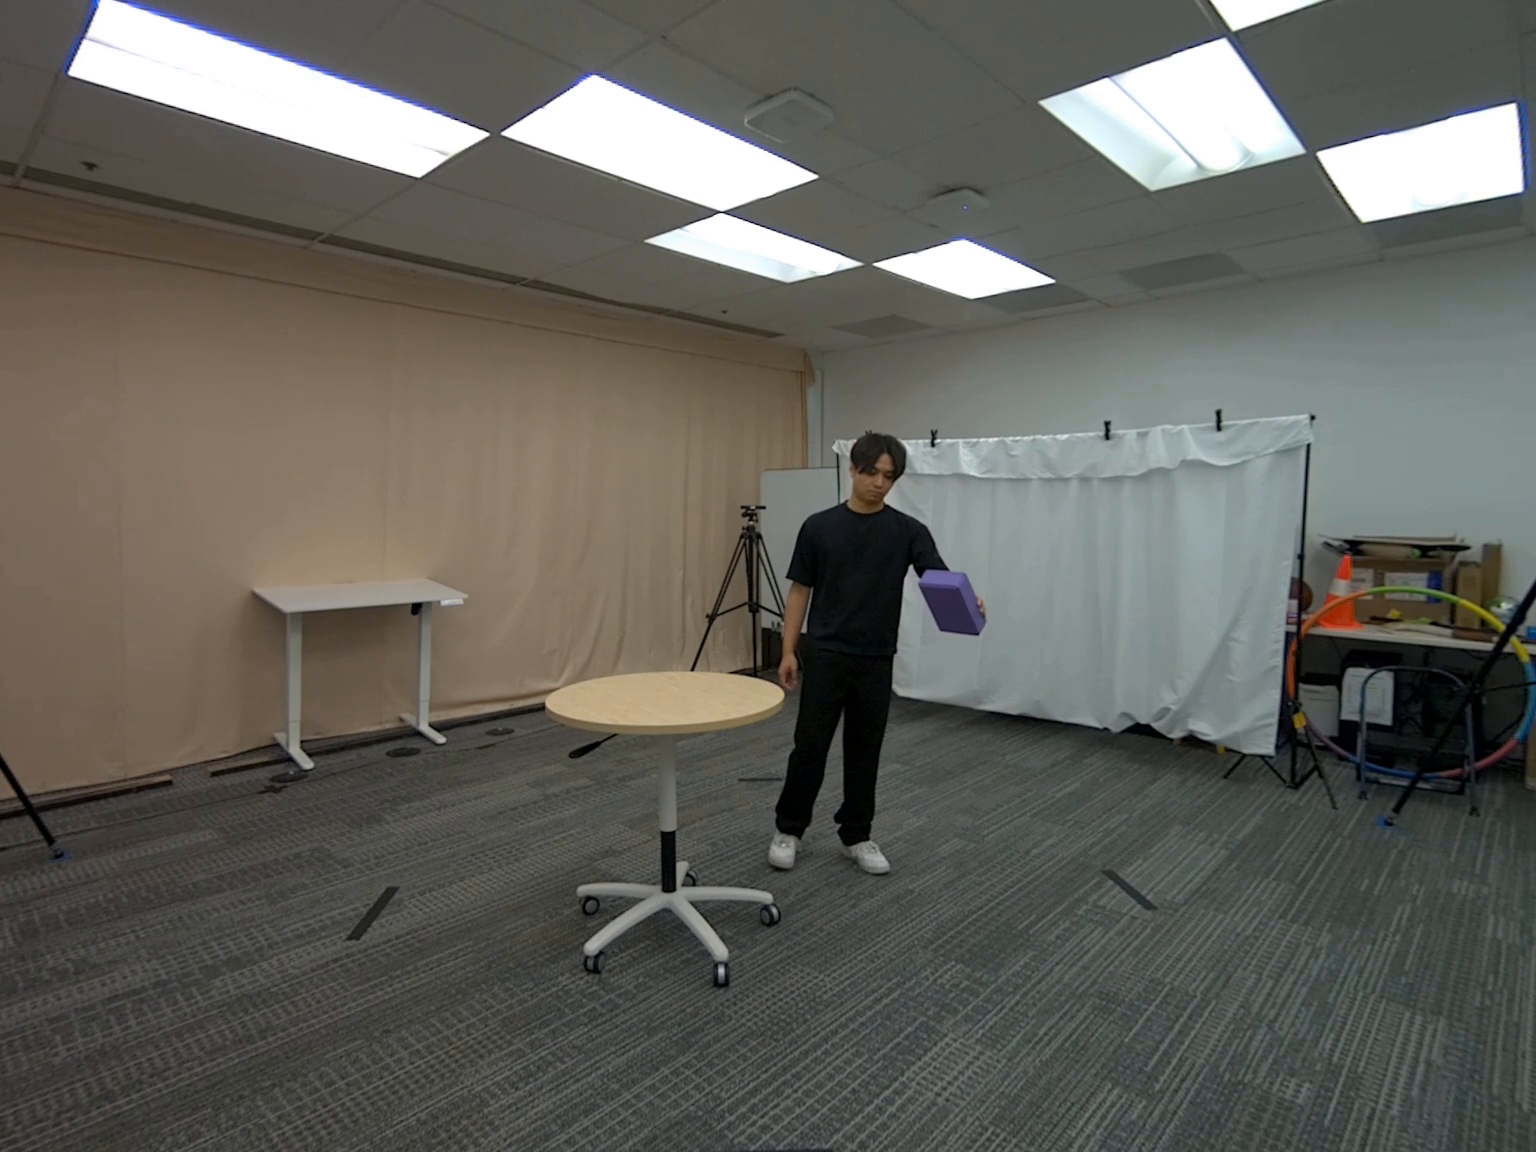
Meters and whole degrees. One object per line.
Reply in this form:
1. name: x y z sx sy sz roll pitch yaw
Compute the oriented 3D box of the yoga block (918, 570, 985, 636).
1. yoga block: 0.589 0.088 2.729 0.154 0.223 0.076 4 46 43
